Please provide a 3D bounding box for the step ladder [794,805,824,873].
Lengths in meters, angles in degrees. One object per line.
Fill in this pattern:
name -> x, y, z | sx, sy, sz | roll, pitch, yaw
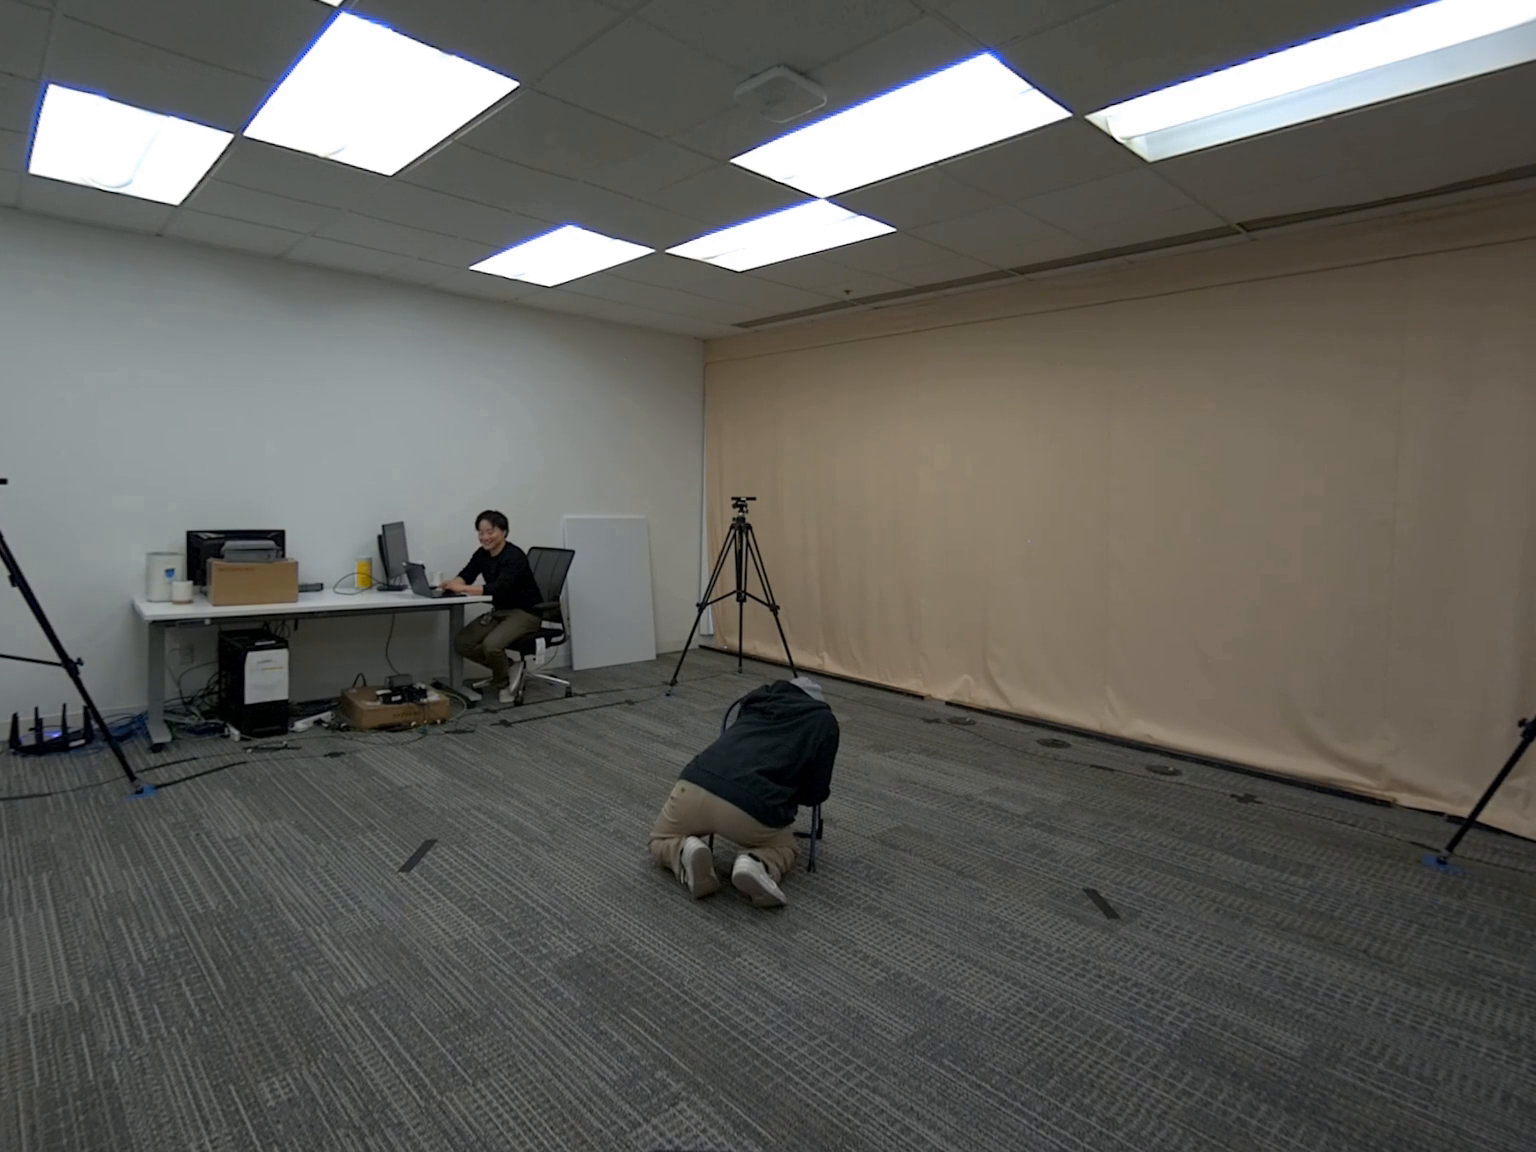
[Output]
step ladder -> 0.002, 0.796, 3.359 | 0.434, 0.605, 0.347 | 4, 3, 8
